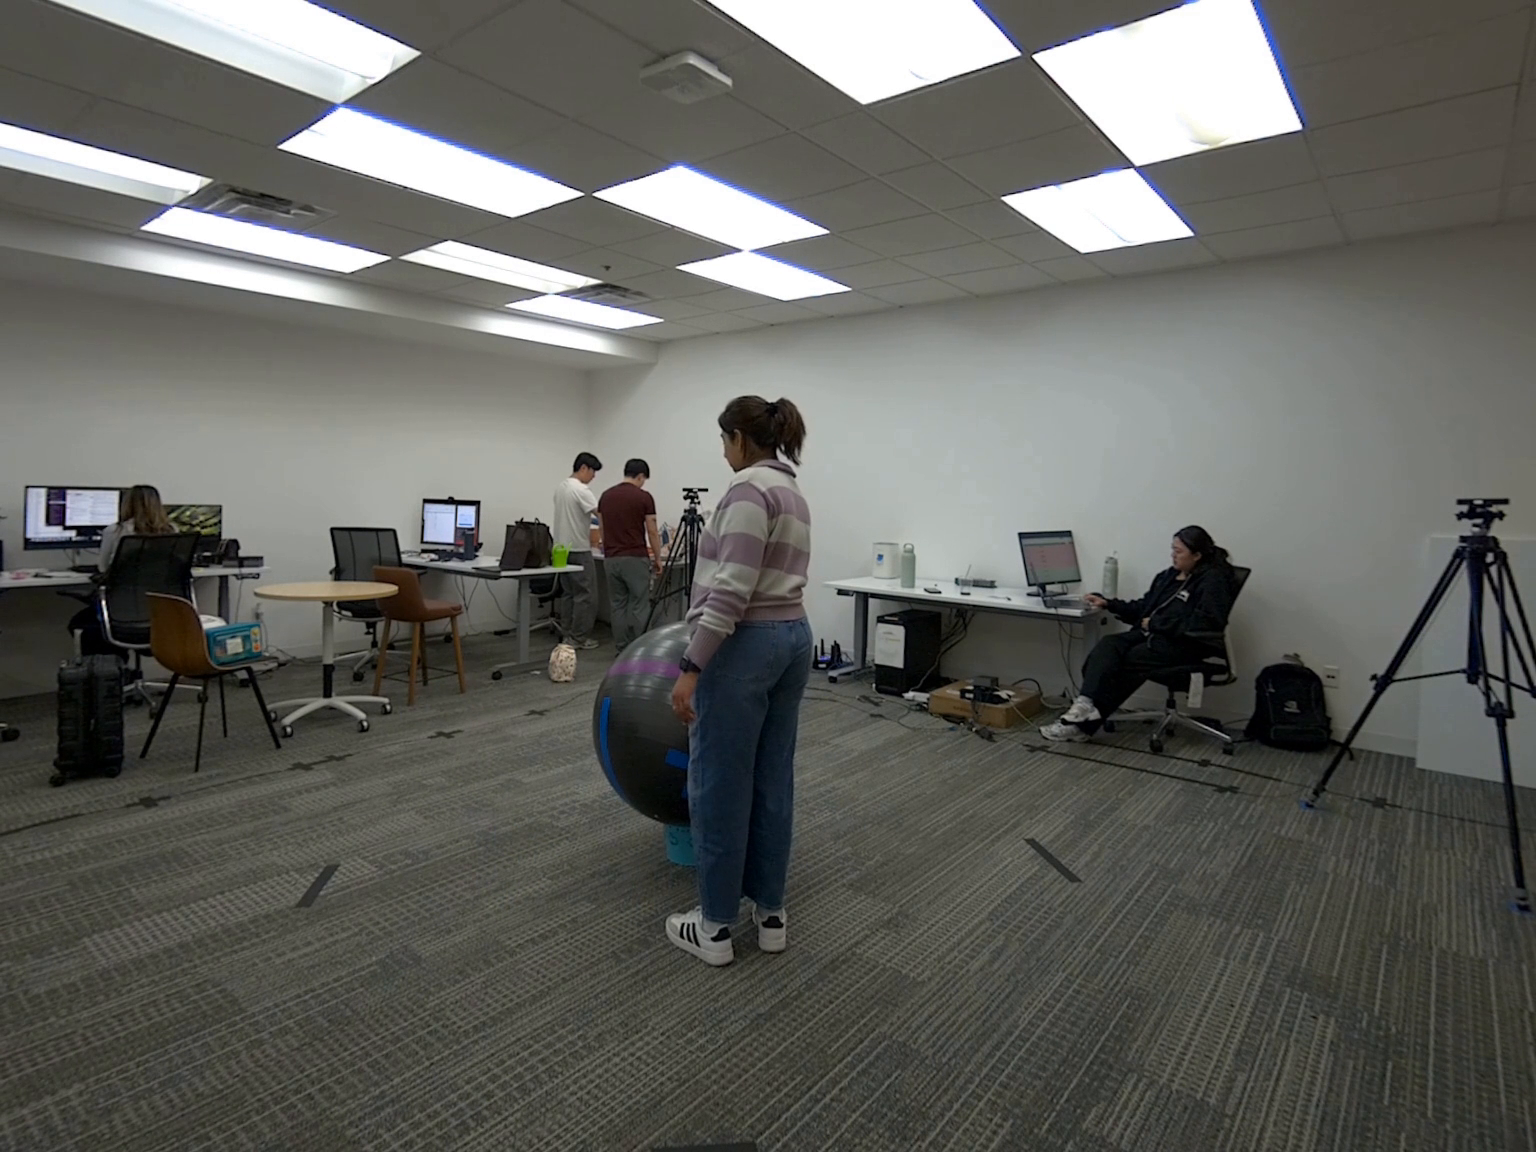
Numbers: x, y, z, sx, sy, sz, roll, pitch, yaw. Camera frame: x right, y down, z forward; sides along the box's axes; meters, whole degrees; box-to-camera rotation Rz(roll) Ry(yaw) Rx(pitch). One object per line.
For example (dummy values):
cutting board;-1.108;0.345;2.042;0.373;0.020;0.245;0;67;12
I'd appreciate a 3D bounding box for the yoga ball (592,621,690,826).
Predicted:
yoga ball;-0.298;0.546;3.210;0.757;0.756;0.762;1;4;-2
